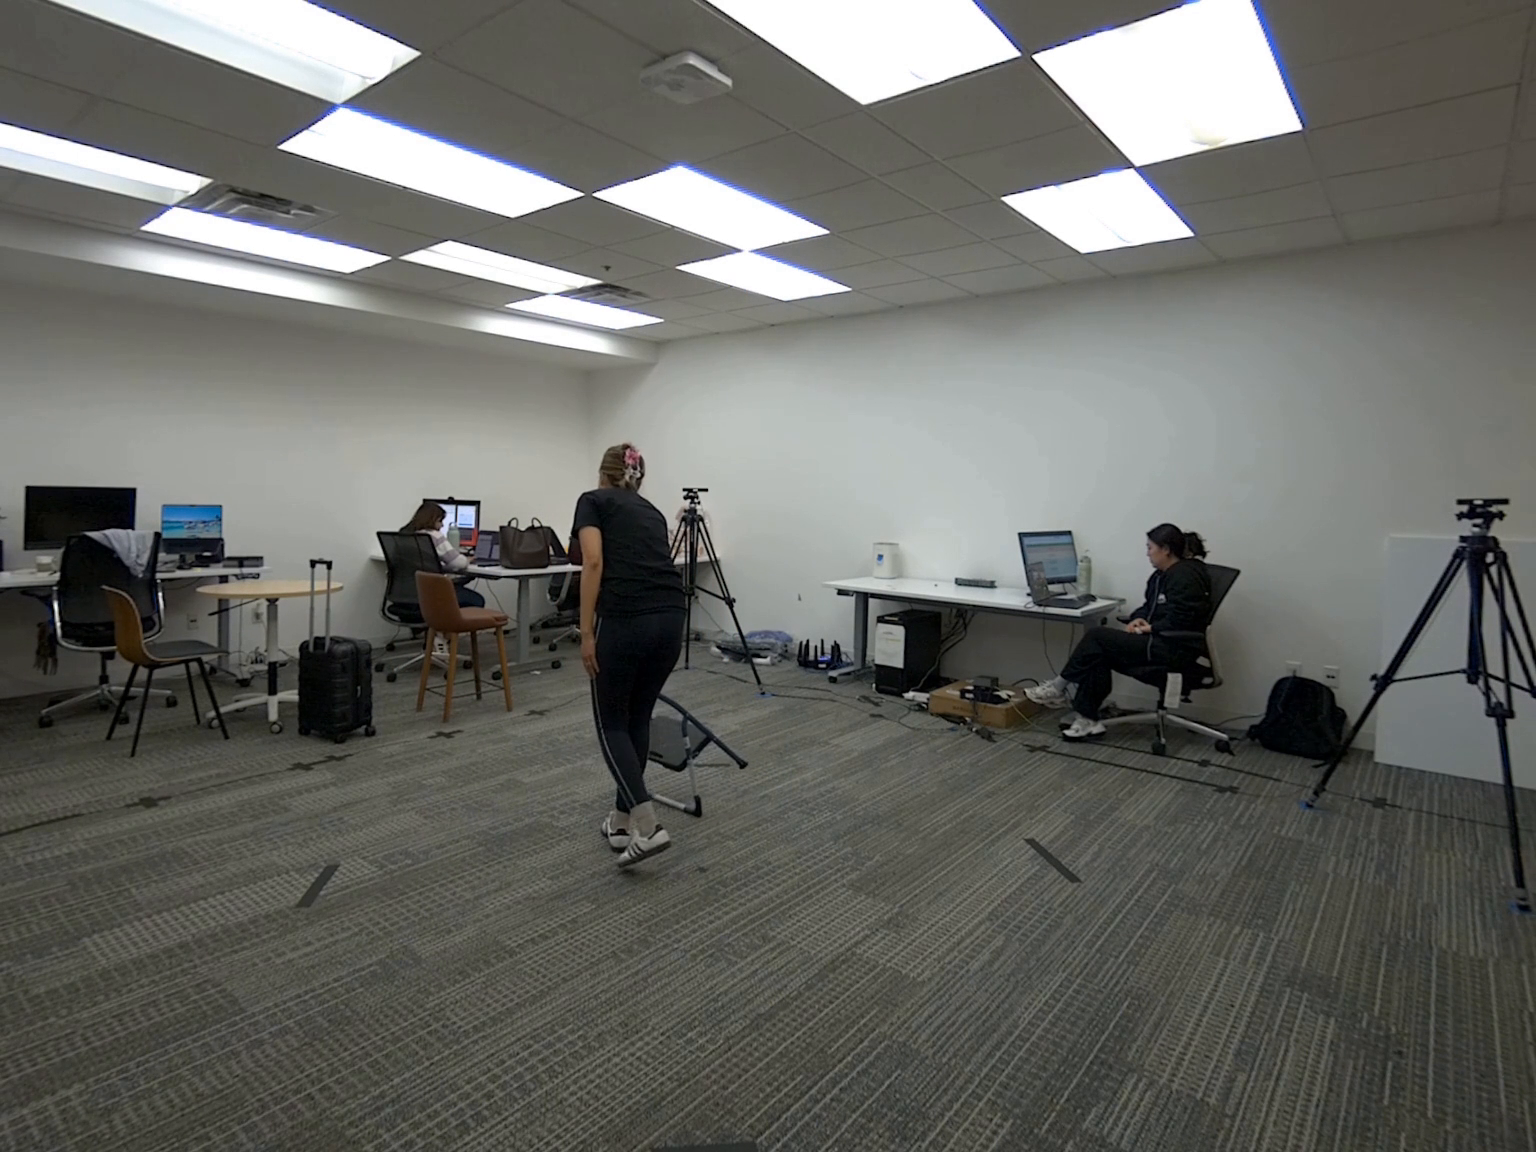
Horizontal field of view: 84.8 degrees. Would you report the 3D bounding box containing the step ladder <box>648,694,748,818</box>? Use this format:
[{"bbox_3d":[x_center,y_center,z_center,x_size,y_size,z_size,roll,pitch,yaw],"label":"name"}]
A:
[{"bbox_3d":[-0.451,0.663,3.724,0.445,0.589,0.348,4,35,41],"label":"step ladder"}]
